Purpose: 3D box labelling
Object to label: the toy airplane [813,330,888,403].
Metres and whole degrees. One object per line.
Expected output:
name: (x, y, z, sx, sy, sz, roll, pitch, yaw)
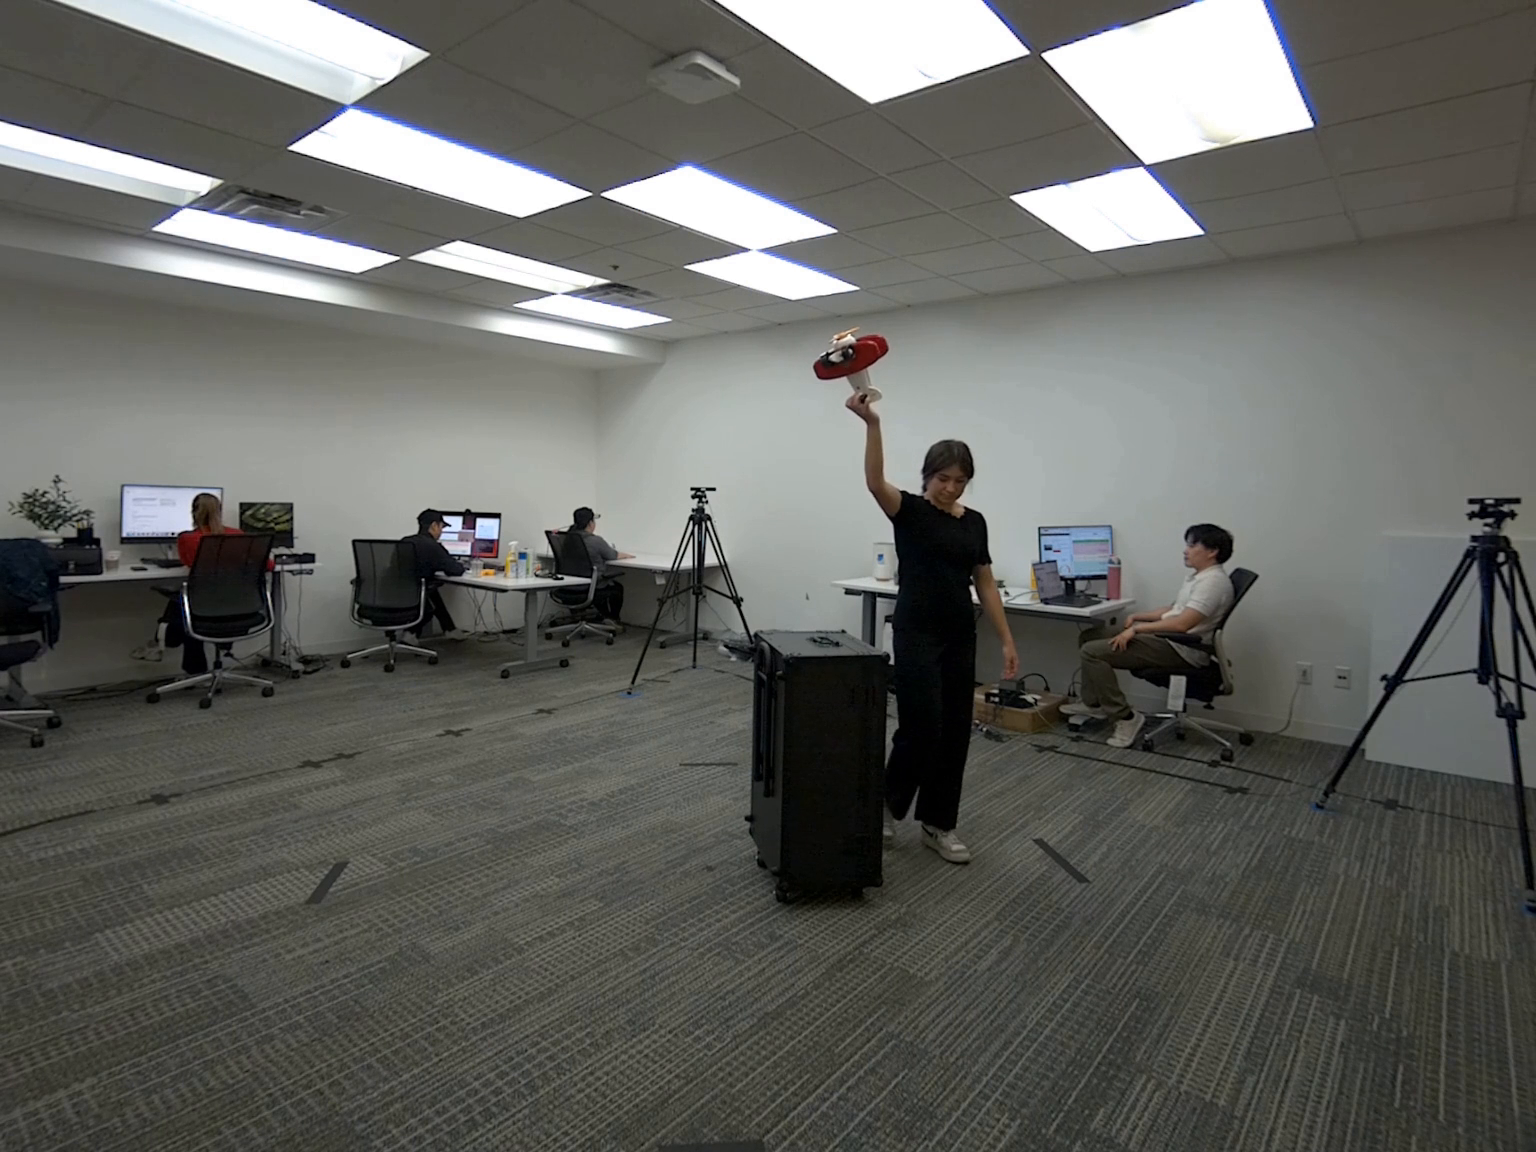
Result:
toy airplane: (0.262, -0.720, 2.960, 0.257, 0.251, 0.157, 13, 46, 20)
